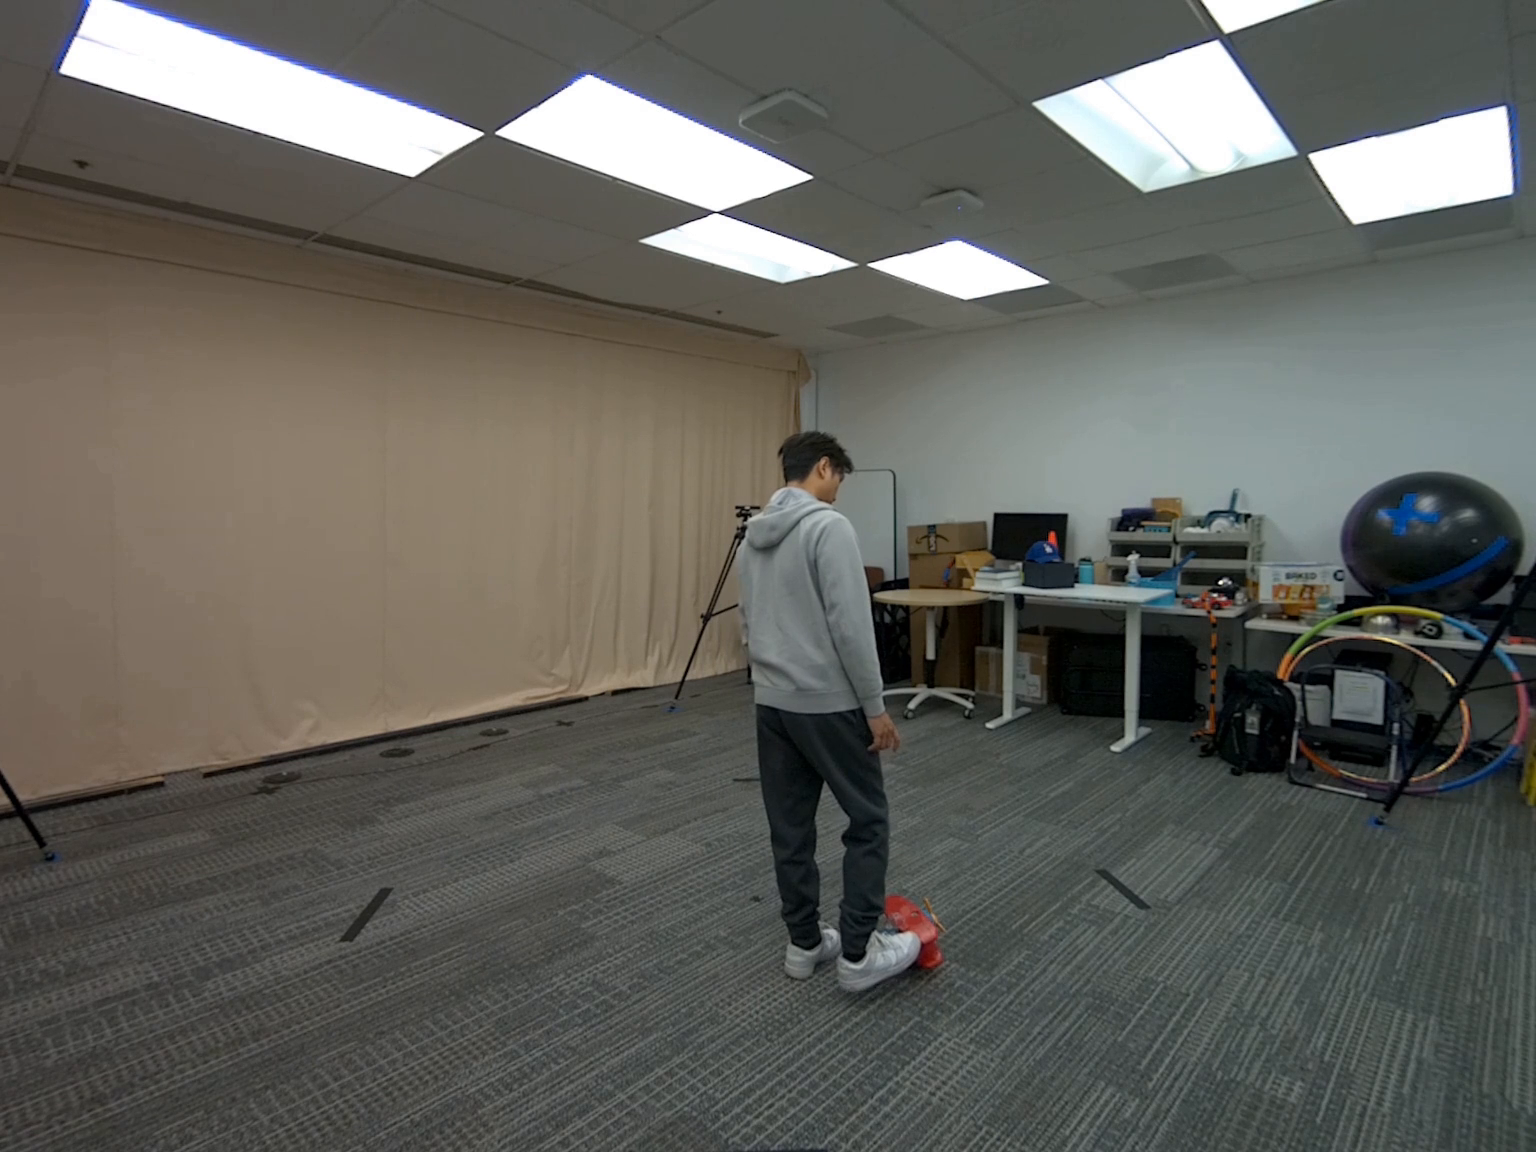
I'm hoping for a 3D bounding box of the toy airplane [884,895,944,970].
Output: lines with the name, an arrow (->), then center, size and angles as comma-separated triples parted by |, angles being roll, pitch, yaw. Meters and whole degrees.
toy airplane -> 0.415, 1.110, 2.542 | 0.251, 0.156, 0.260 | -3, 10, -45
